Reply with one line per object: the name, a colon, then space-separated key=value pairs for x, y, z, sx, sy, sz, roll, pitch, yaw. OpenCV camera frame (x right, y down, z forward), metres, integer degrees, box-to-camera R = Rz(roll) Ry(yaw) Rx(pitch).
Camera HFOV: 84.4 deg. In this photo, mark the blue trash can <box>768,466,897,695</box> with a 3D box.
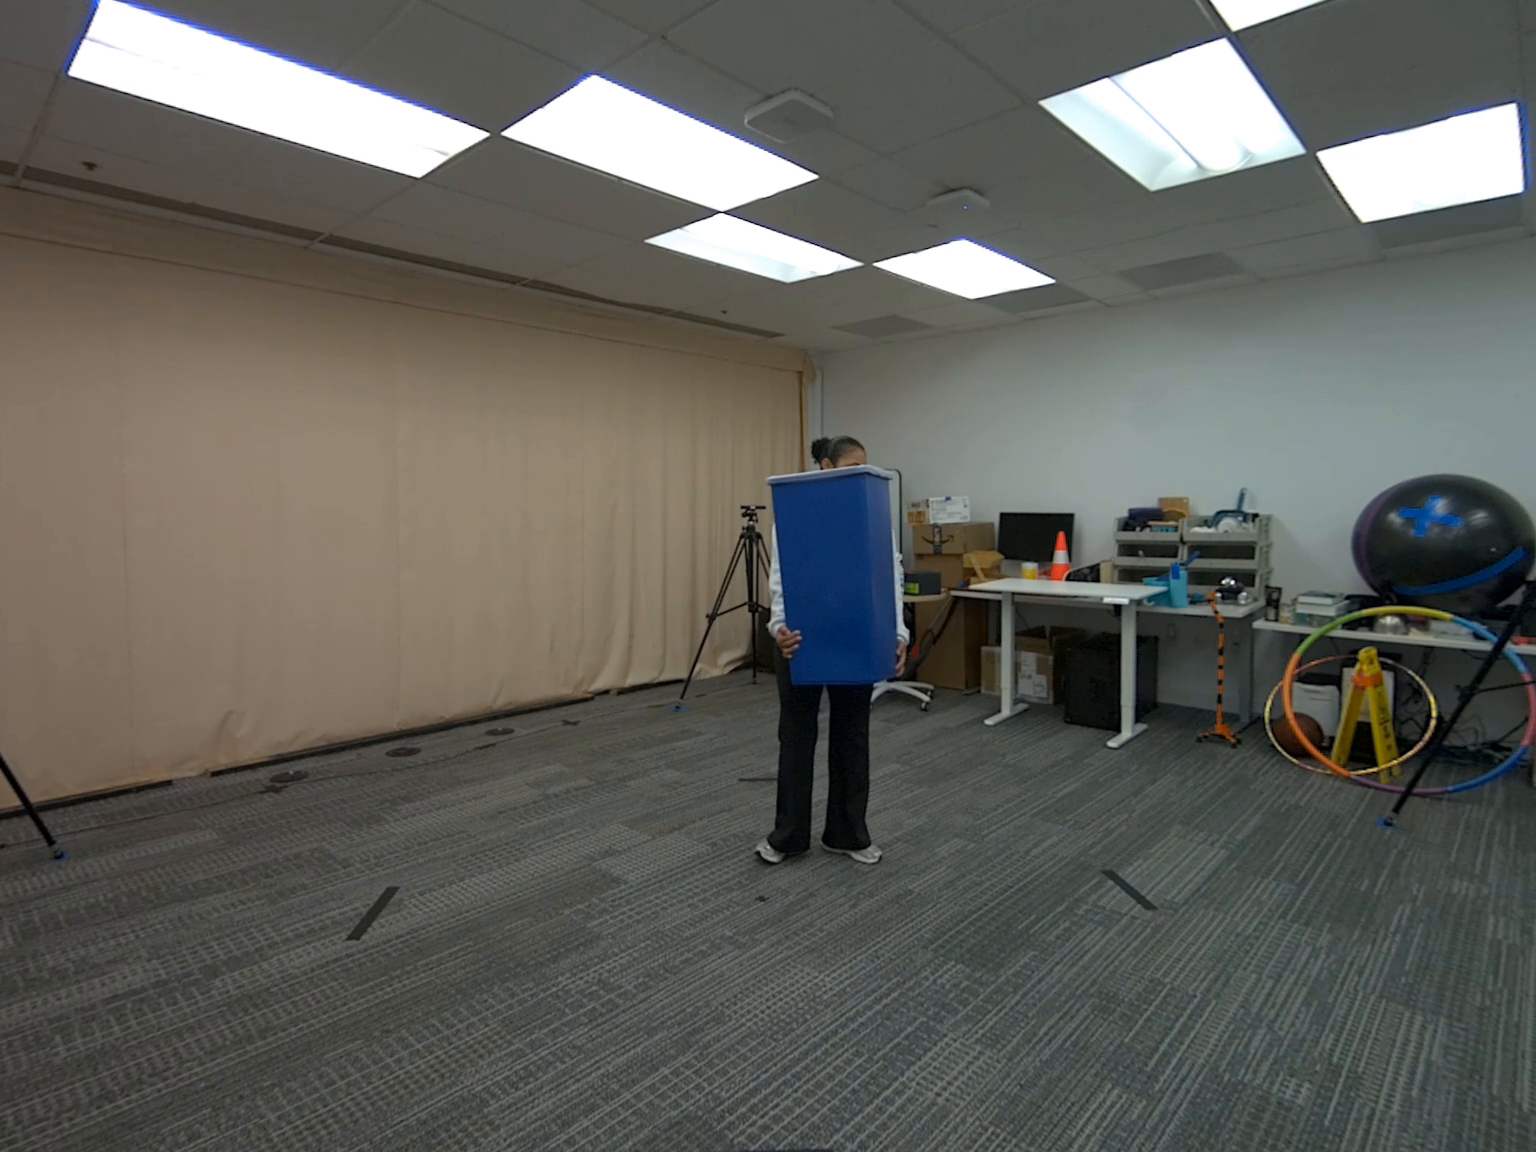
blue trash can: x=0.238 y=0.000 z=2.955 sx=0.383 sy=0.715 sz=0.368 roll=-4 pitch=-2 yaw=25
